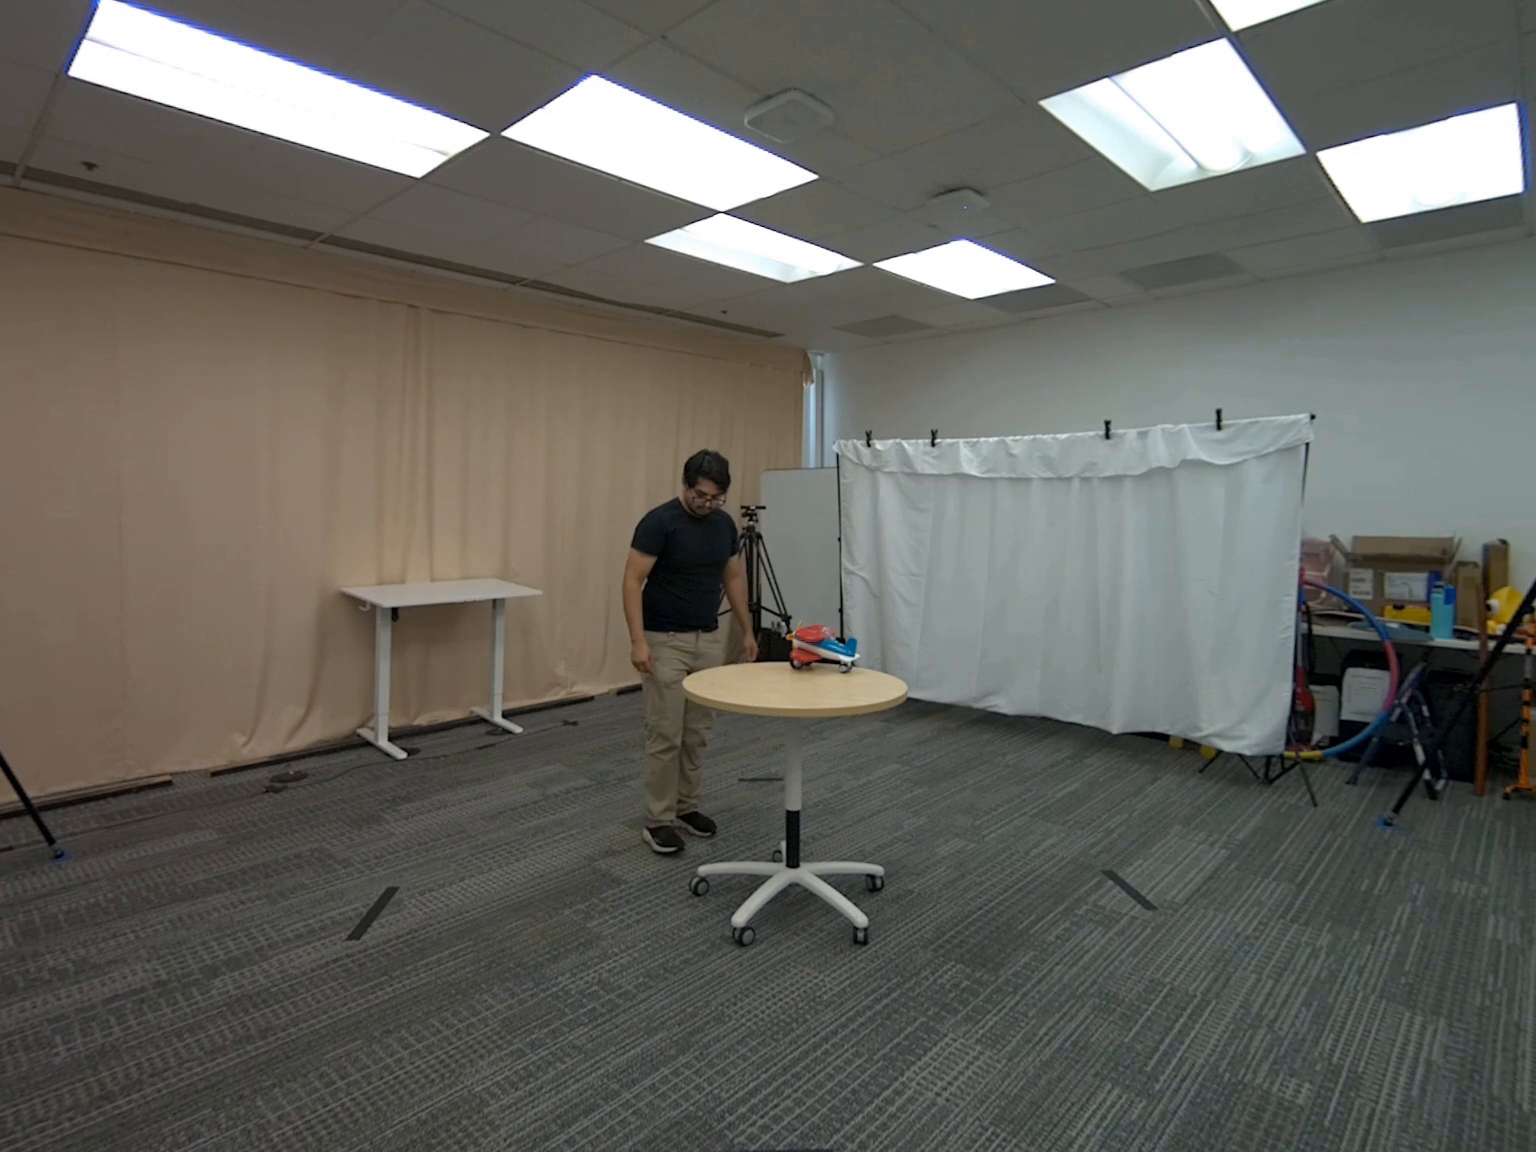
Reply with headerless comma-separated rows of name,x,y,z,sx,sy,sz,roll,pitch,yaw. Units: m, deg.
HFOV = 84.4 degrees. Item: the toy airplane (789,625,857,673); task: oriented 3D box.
toy airplane,0.213,0.271,3.140,0.260,0.156,0.251,-1,4,1
